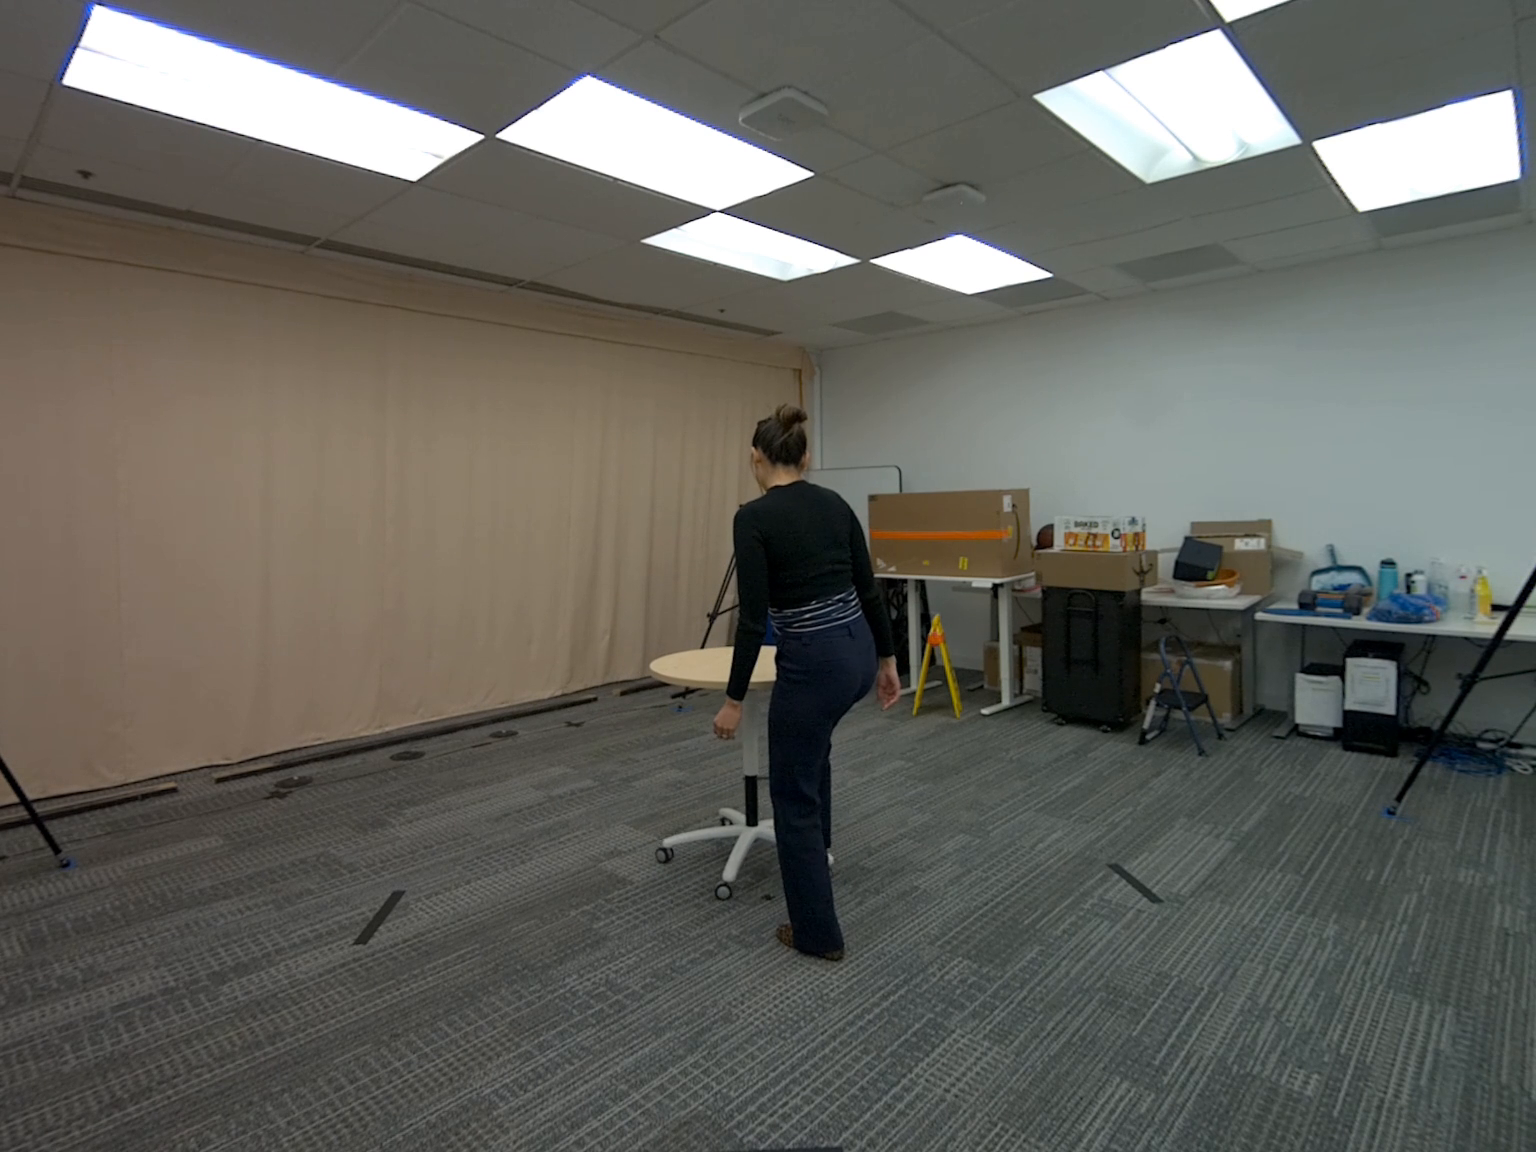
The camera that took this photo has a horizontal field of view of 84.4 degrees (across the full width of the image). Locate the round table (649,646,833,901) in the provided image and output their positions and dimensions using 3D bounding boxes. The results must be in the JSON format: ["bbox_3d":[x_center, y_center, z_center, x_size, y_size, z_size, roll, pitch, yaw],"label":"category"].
[{"bbox_3d":[-0.068,0.727,3.275,0.763,0.792,0.766,-2,3,-2],"label":"round table"}]
